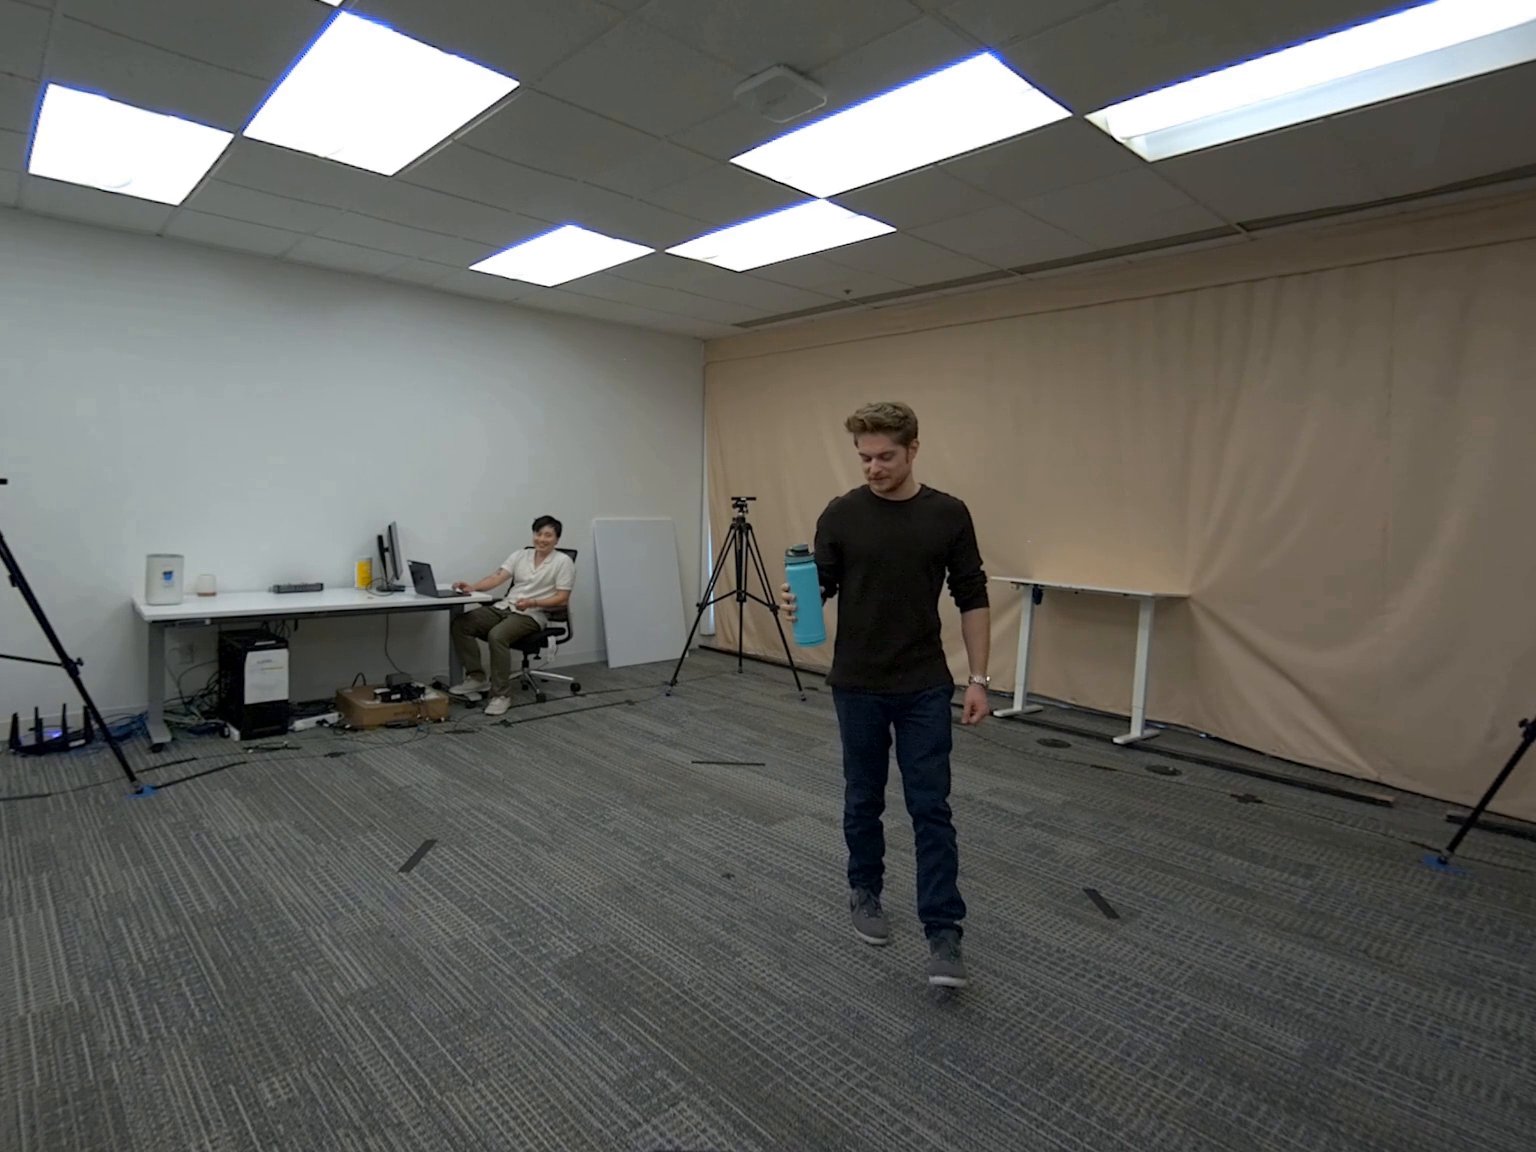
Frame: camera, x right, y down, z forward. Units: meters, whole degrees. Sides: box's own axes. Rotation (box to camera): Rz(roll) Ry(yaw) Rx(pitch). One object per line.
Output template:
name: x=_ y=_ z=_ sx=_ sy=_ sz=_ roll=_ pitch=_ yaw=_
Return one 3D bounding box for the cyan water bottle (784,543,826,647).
cyan water bottle: x=0.096 y=0.050 z=2.345 sx=0.092 sy=0.283 sz=0.092 roll=-6 pitch=2 yaw=-1
